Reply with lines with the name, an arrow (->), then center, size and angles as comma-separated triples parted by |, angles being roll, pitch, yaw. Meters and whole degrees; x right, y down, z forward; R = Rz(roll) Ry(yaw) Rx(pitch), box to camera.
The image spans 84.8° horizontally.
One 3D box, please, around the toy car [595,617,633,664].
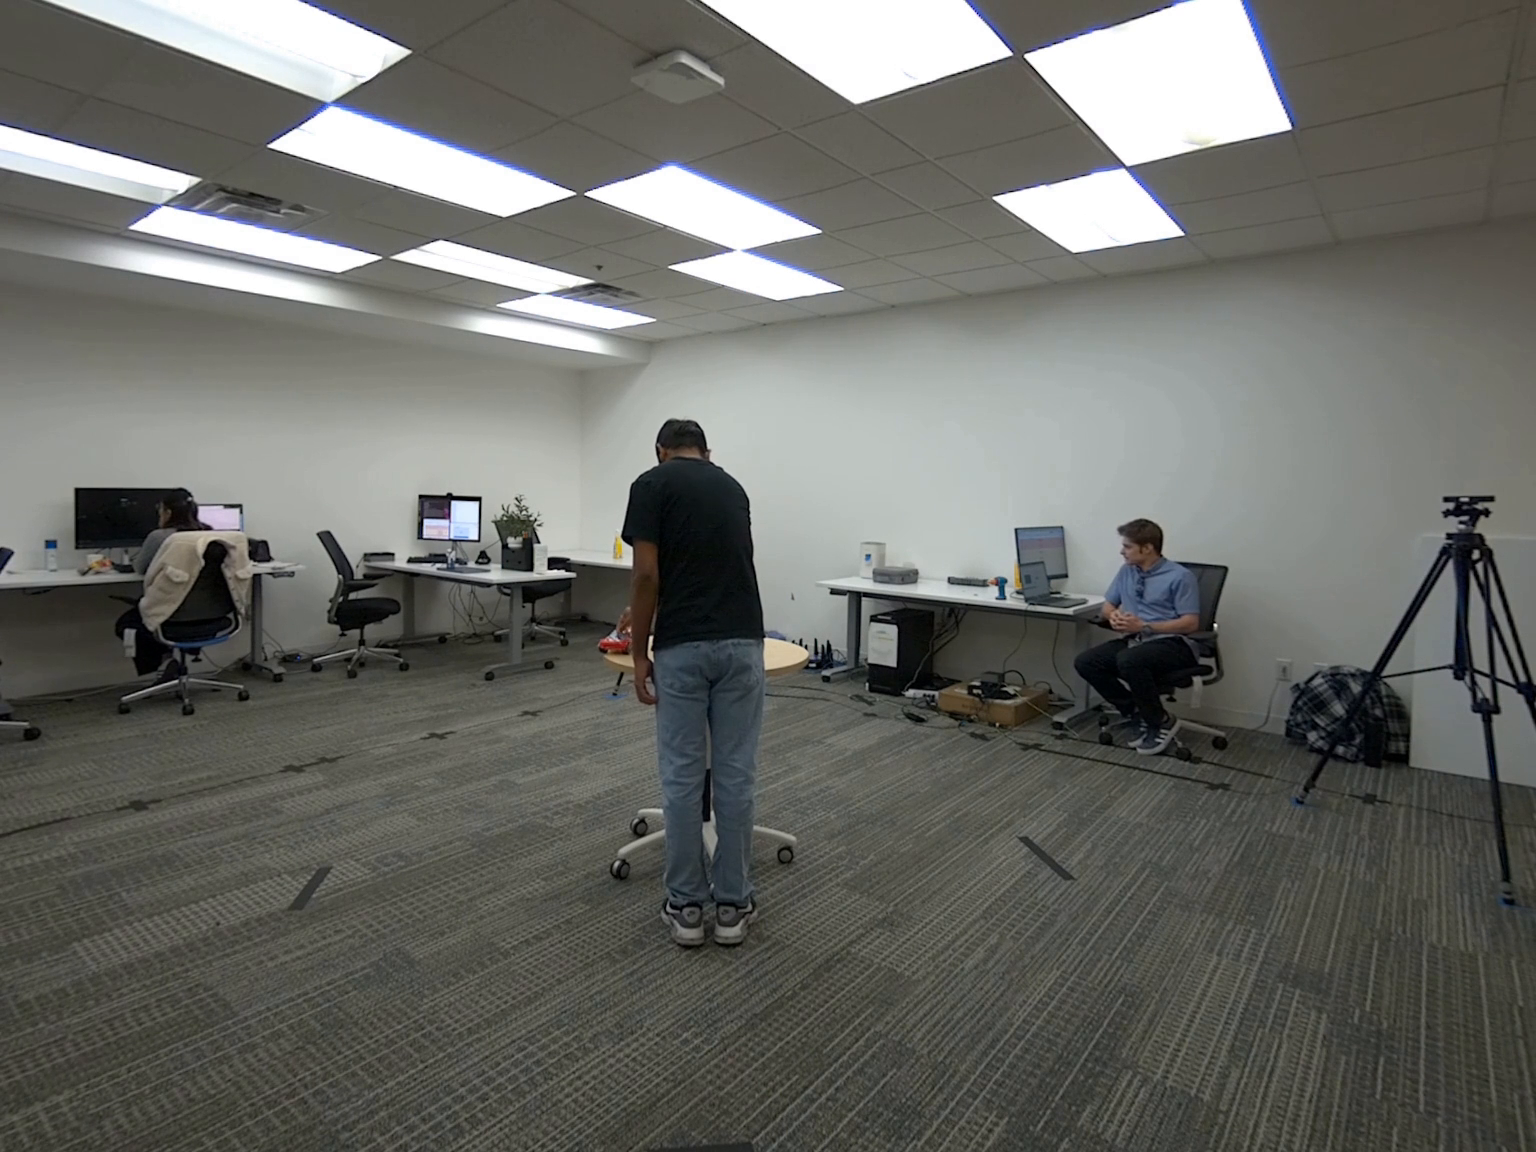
toy car -> -0.550, 0.239, 3.204 | 0.132, 0.082, 0.255 | 0, 16, 11
